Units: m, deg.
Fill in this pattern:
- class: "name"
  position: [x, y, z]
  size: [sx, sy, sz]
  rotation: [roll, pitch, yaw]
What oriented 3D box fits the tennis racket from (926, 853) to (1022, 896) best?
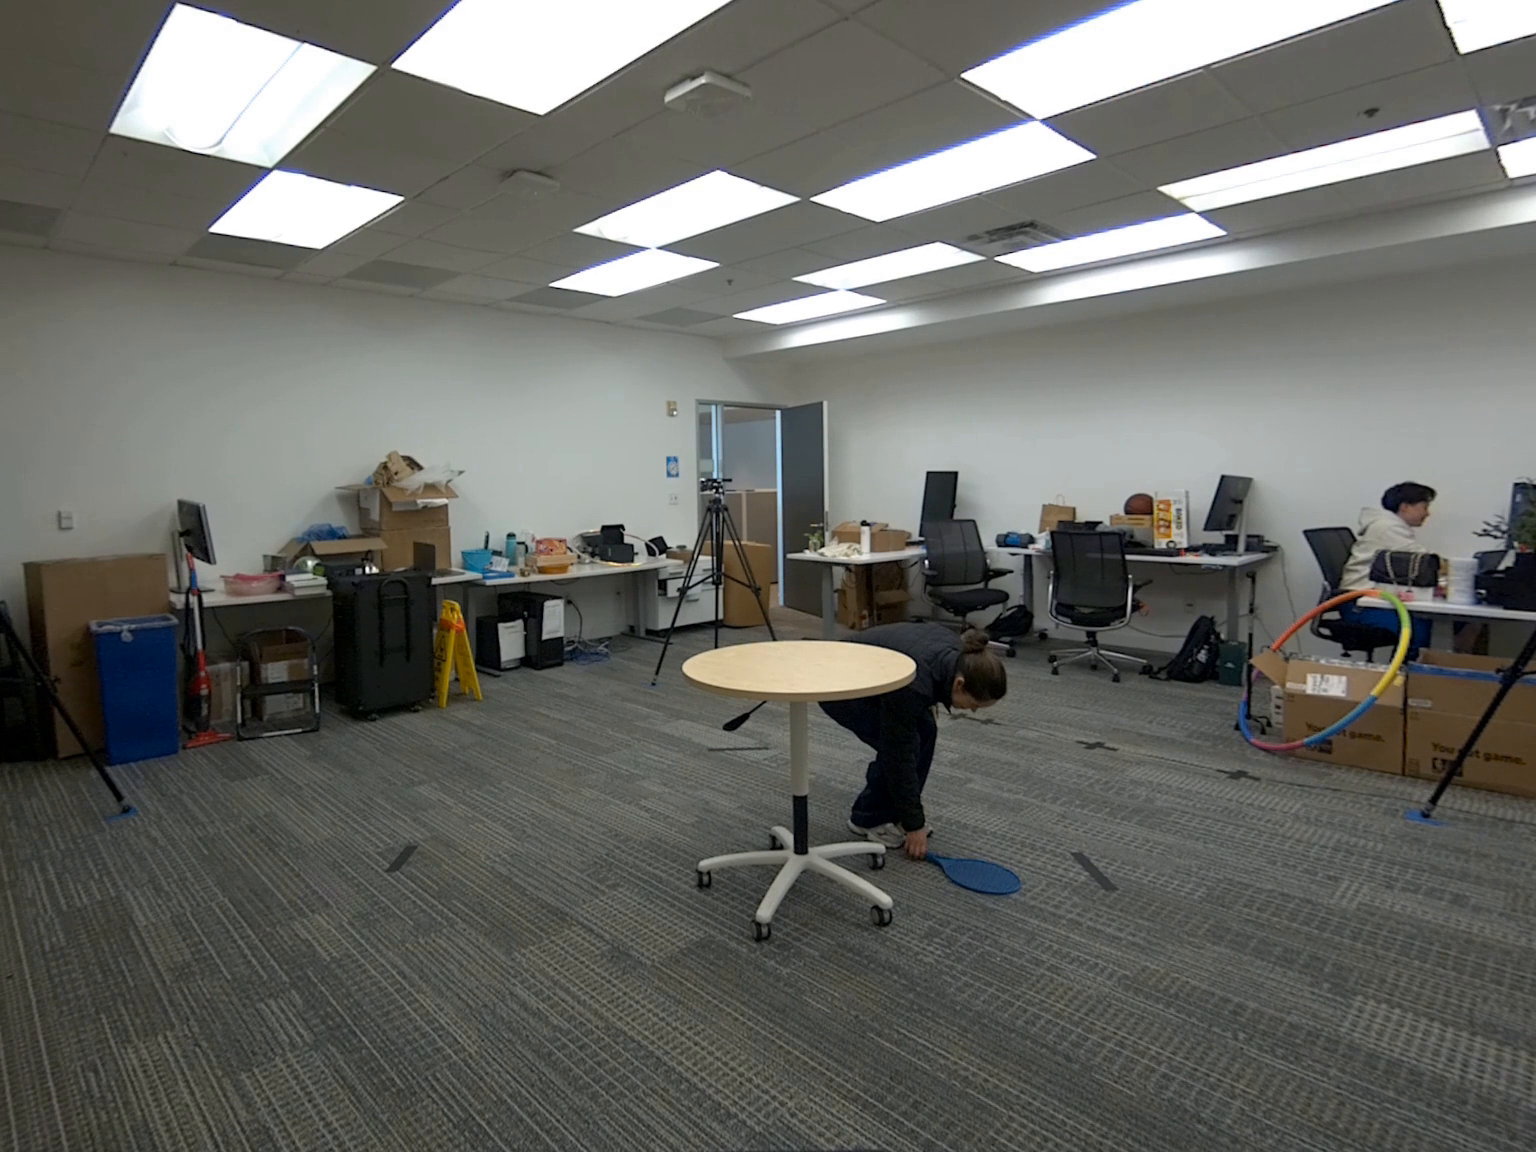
- class: "tennis racket"
  position: [0.683, 1.029, 3.033]
  size: [0.208, 0.031, 0.447]
  rotation: [-8, 10, -44]
